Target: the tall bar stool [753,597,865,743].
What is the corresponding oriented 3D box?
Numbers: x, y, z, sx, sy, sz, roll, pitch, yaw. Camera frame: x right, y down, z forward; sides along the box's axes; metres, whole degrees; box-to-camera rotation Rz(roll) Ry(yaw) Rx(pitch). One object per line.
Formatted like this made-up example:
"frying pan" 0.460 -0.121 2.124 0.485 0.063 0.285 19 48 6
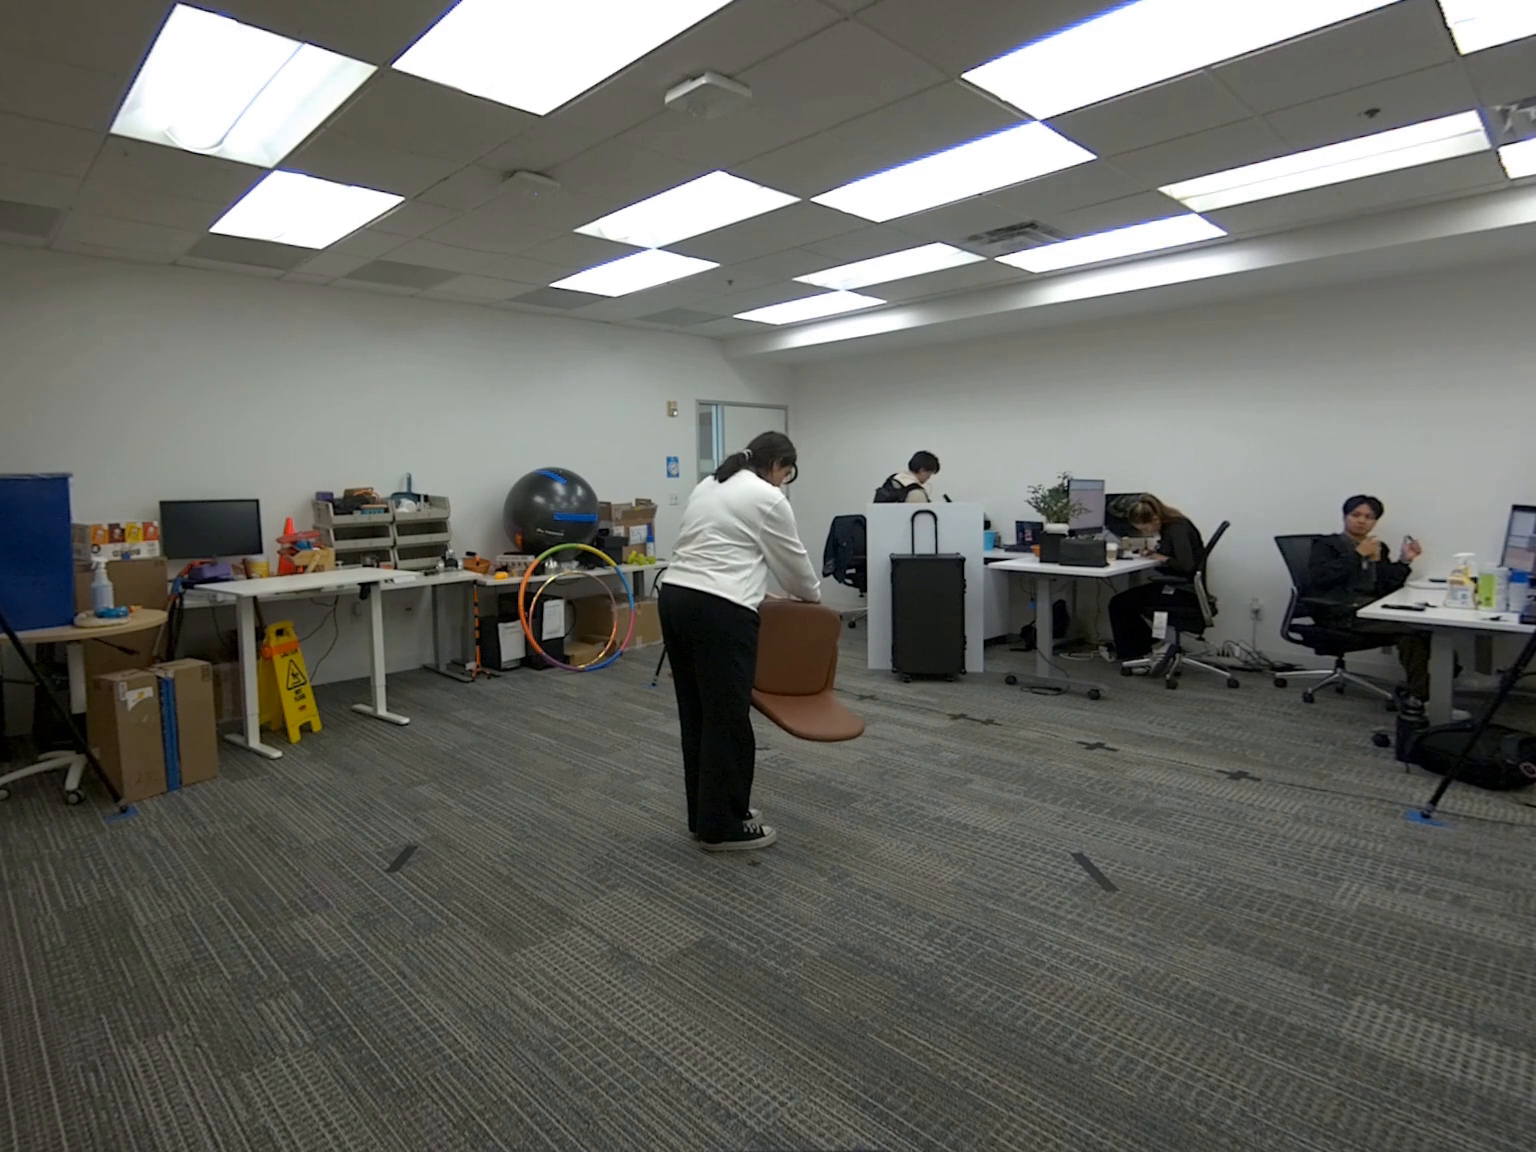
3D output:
"tall bar stool" 0.013 0.309 3.496 0.442 0.467 0.918 11 2 -35
